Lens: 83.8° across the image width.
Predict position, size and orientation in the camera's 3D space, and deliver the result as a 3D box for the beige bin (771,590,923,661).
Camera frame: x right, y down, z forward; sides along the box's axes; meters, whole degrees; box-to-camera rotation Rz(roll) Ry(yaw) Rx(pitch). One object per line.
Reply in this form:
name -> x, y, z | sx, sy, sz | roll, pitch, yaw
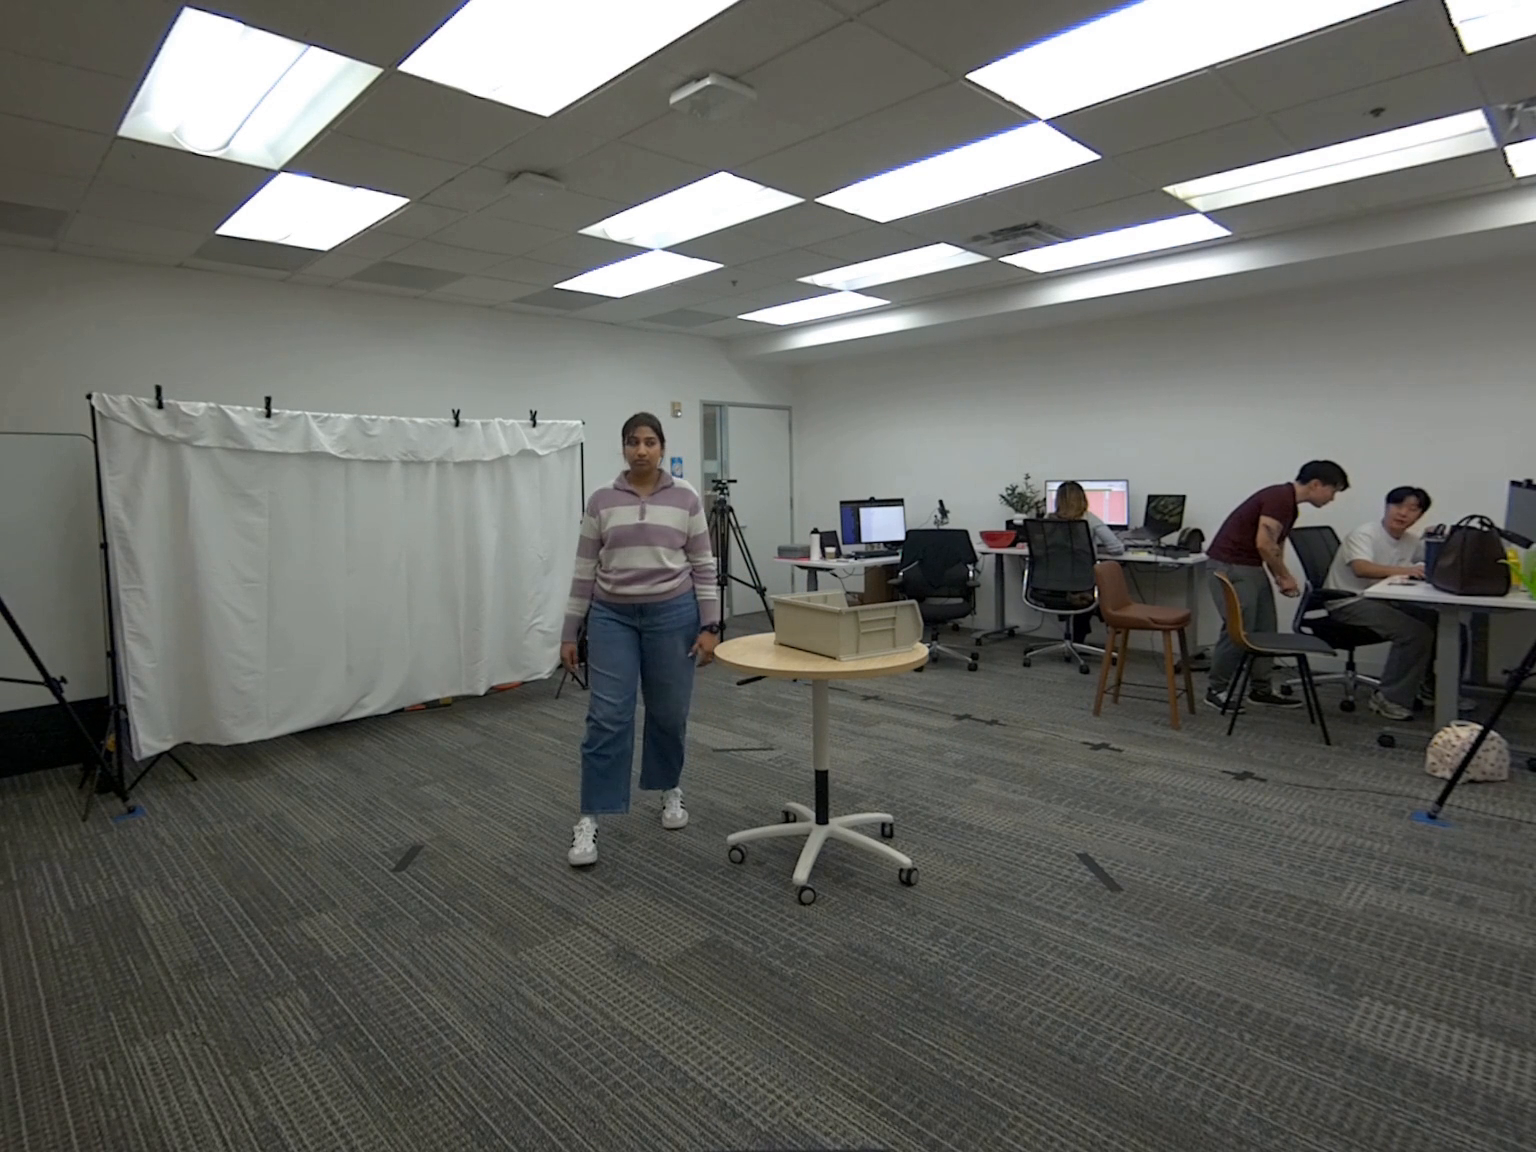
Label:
beige bin -> 0.290, 0.174, 3.088 | 0.369, 0.188, 0.434 | -6, 7, -29
